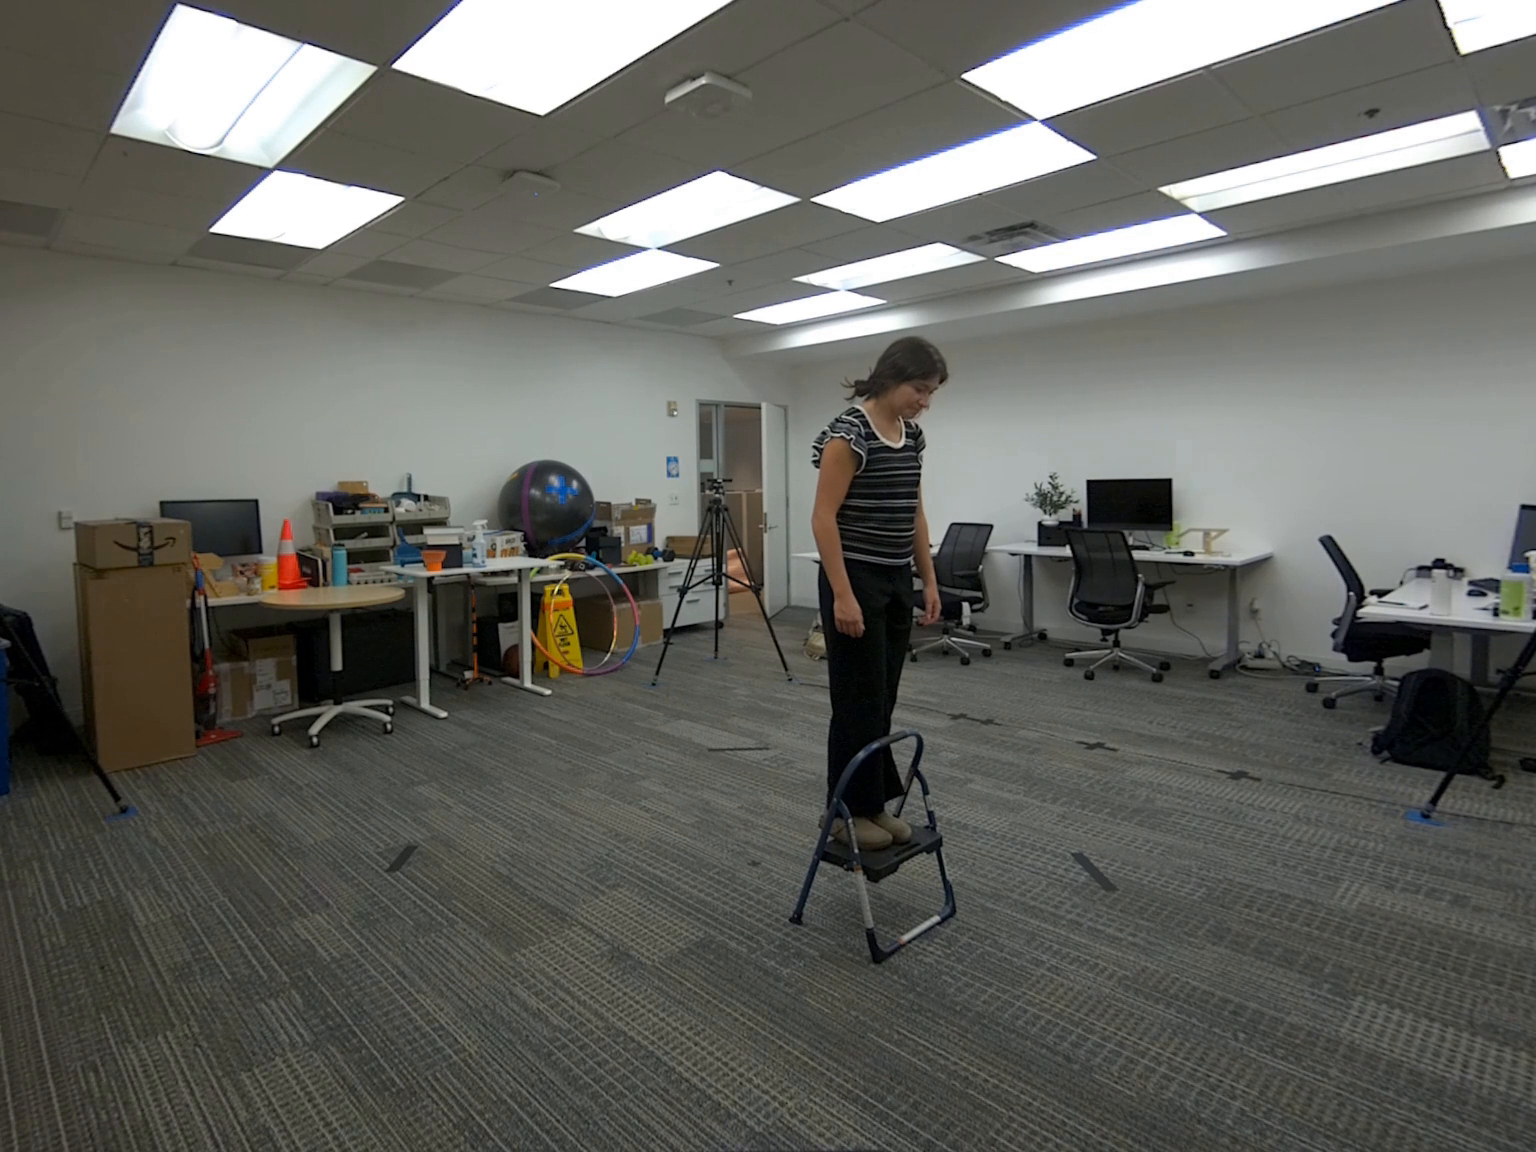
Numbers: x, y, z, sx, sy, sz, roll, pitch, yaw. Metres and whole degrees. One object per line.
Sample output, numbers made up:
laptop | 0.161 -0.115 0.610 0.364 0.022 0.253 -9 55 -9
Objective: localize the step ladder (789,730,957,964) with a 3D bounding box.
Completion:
step ladder | 0.336 0.784 2.690 0.360 0.604 0.419 4 6 45
